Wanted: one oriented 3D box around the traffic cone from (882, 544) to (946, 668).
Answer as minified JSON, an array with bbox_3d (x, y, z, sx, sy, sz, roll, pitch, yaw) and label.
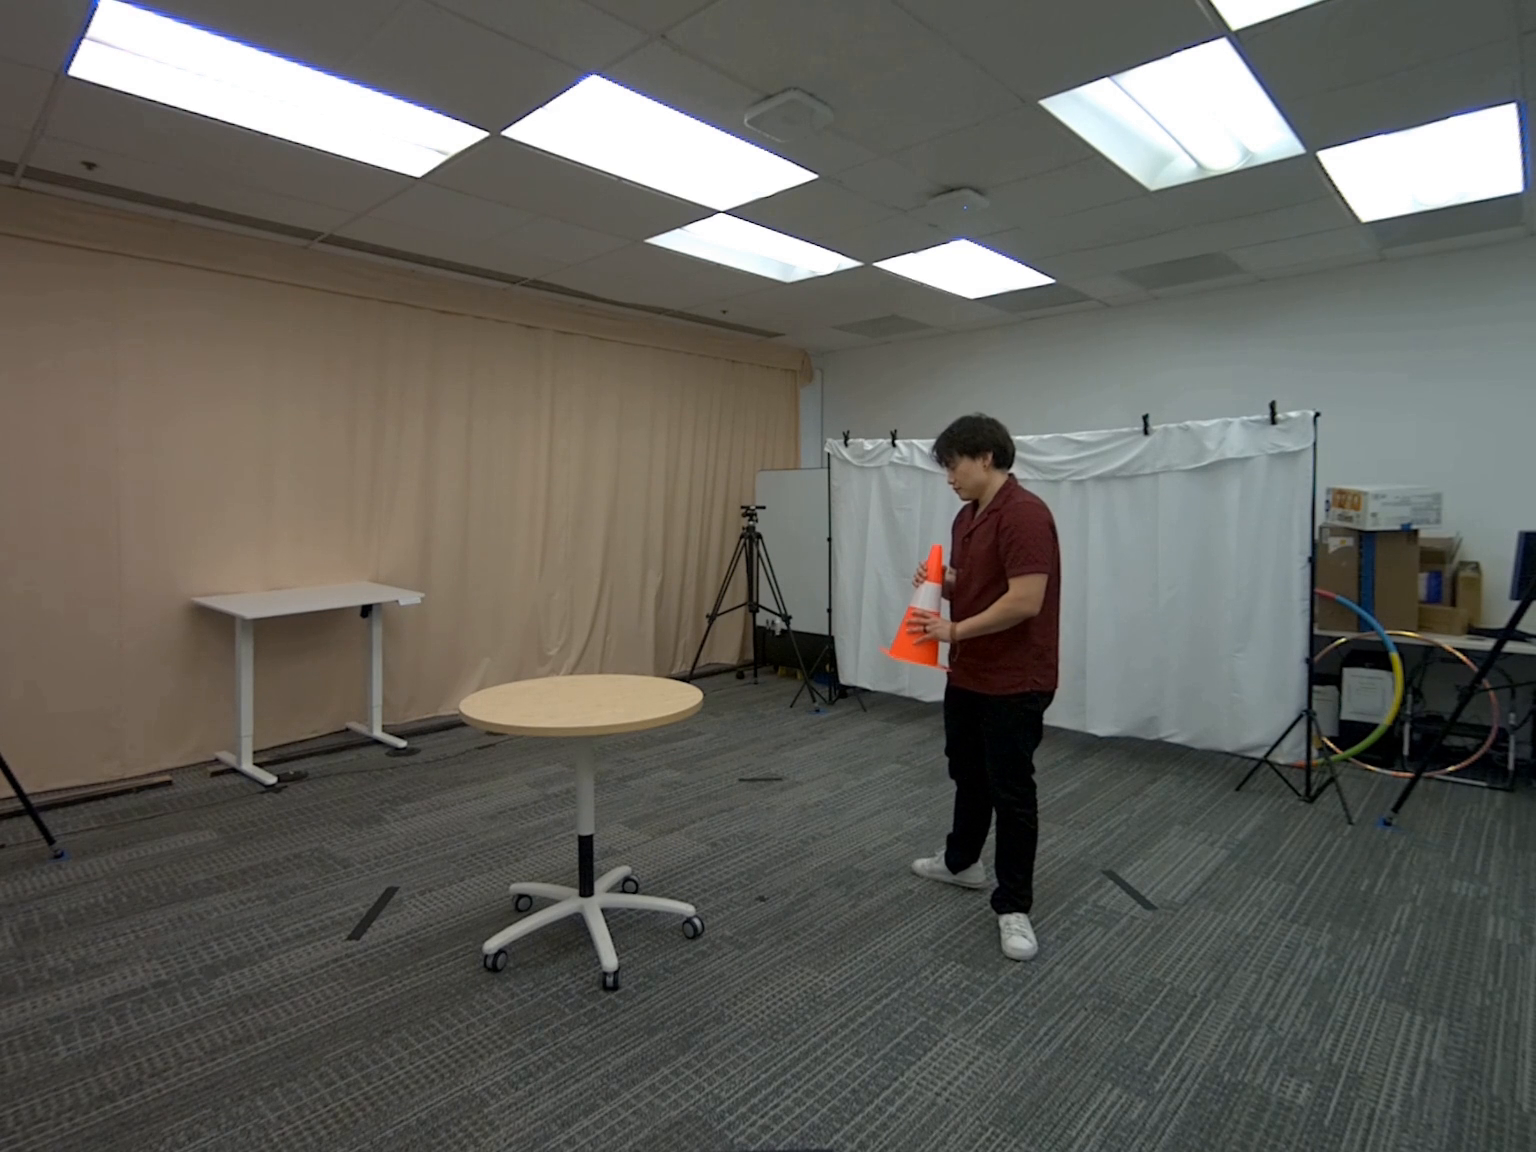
[{"bbox_3d":[0.528,0.091,2.745,0.204,0.383,0.204,13,4,3],"label":"traffic cone"}]
